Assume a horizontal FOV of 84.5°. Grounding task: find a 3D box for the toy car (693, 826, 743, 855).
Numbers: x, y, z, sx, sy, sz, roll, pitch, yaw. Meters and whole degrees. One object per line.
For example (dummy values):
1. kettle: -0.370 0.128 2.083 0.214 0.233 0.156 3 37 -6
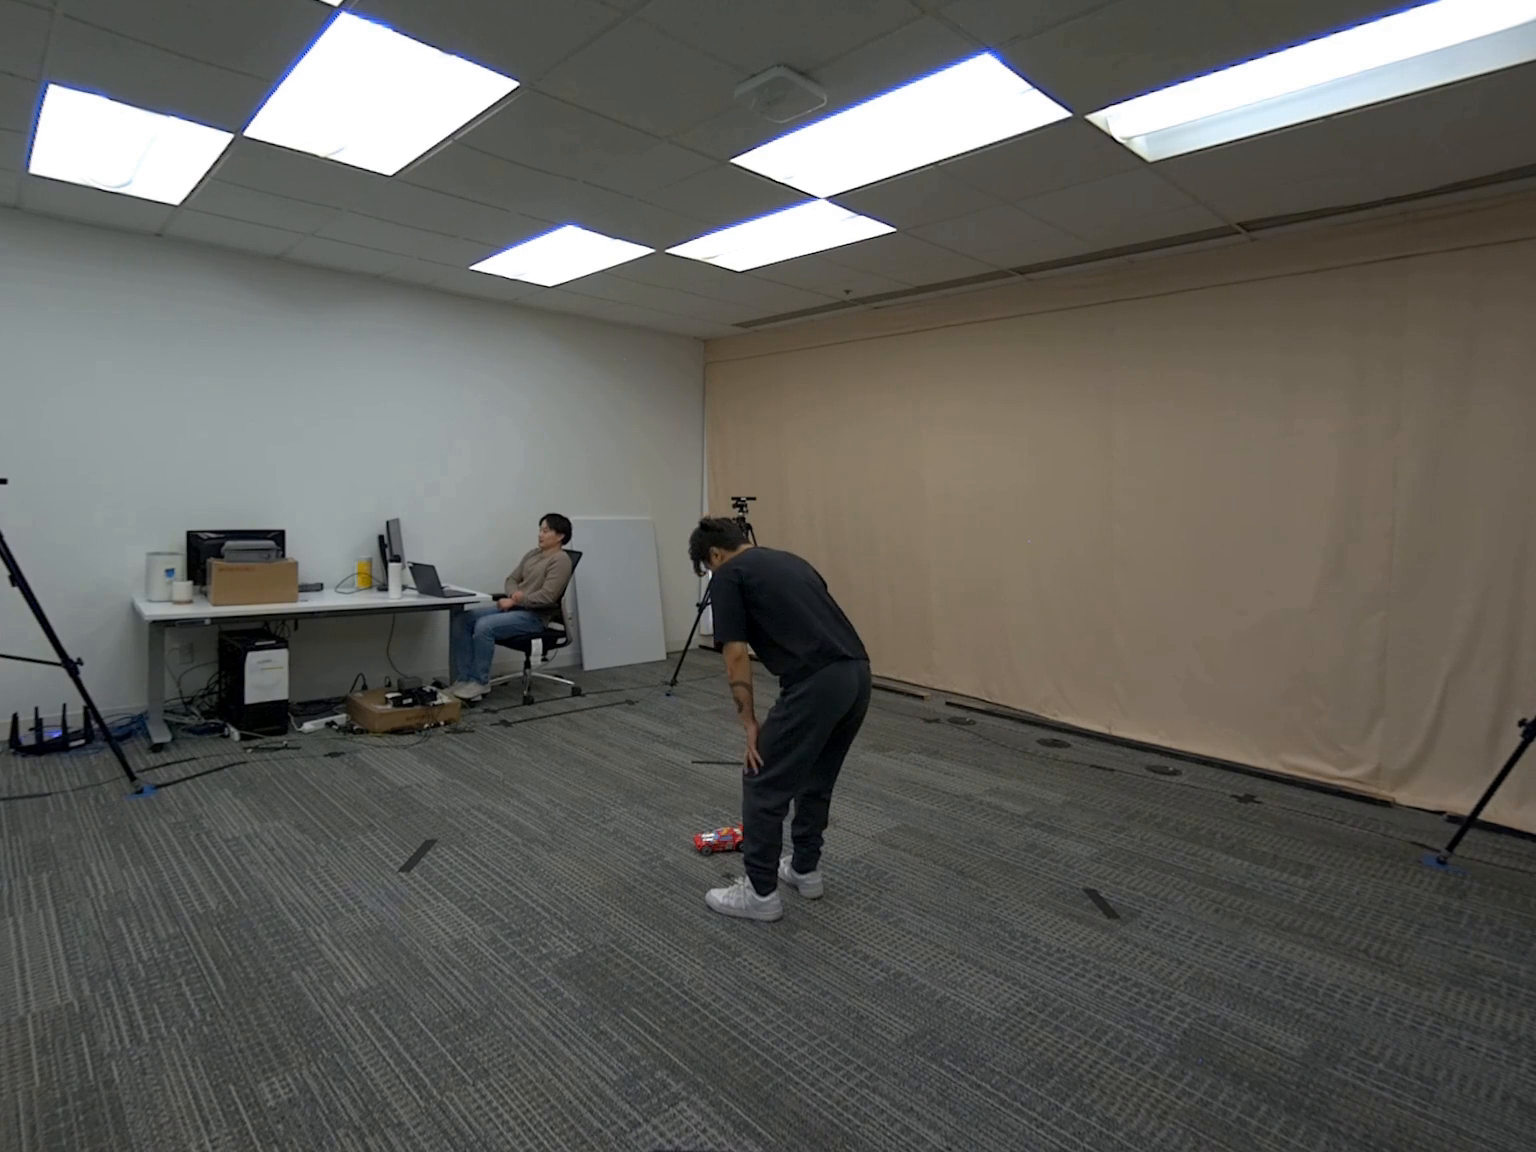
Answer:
1. toy car: -0.170 1.057 3.352 0.252 0.083 0.132 -11 7 -14
